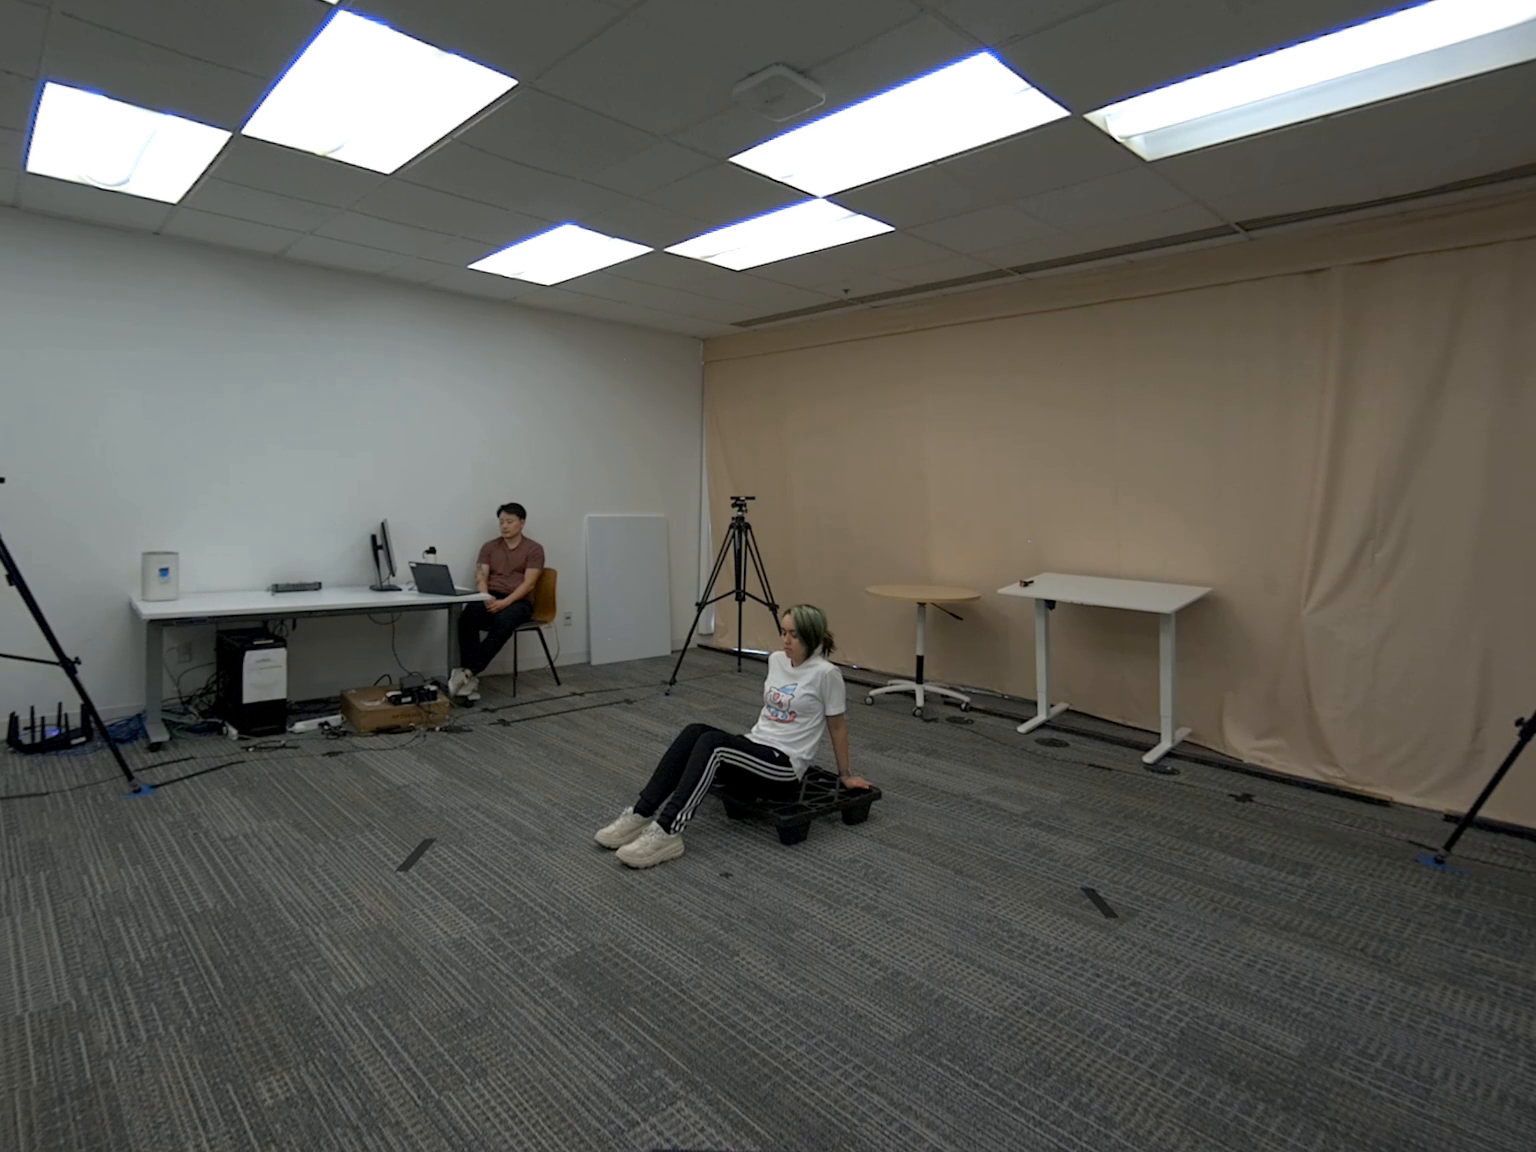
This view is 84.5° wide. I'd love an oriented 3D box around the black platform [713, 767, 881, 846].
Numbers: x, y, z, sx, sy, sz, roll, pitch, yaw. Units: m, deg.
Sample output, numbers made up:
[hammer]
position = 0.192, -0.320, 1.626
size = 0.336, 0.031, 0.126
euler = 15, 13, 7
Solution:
[black platform]
position = 0.012, 0.979, 3.804
size = 0.592, 0.143, 0.826
euler = -3, 6, -40
